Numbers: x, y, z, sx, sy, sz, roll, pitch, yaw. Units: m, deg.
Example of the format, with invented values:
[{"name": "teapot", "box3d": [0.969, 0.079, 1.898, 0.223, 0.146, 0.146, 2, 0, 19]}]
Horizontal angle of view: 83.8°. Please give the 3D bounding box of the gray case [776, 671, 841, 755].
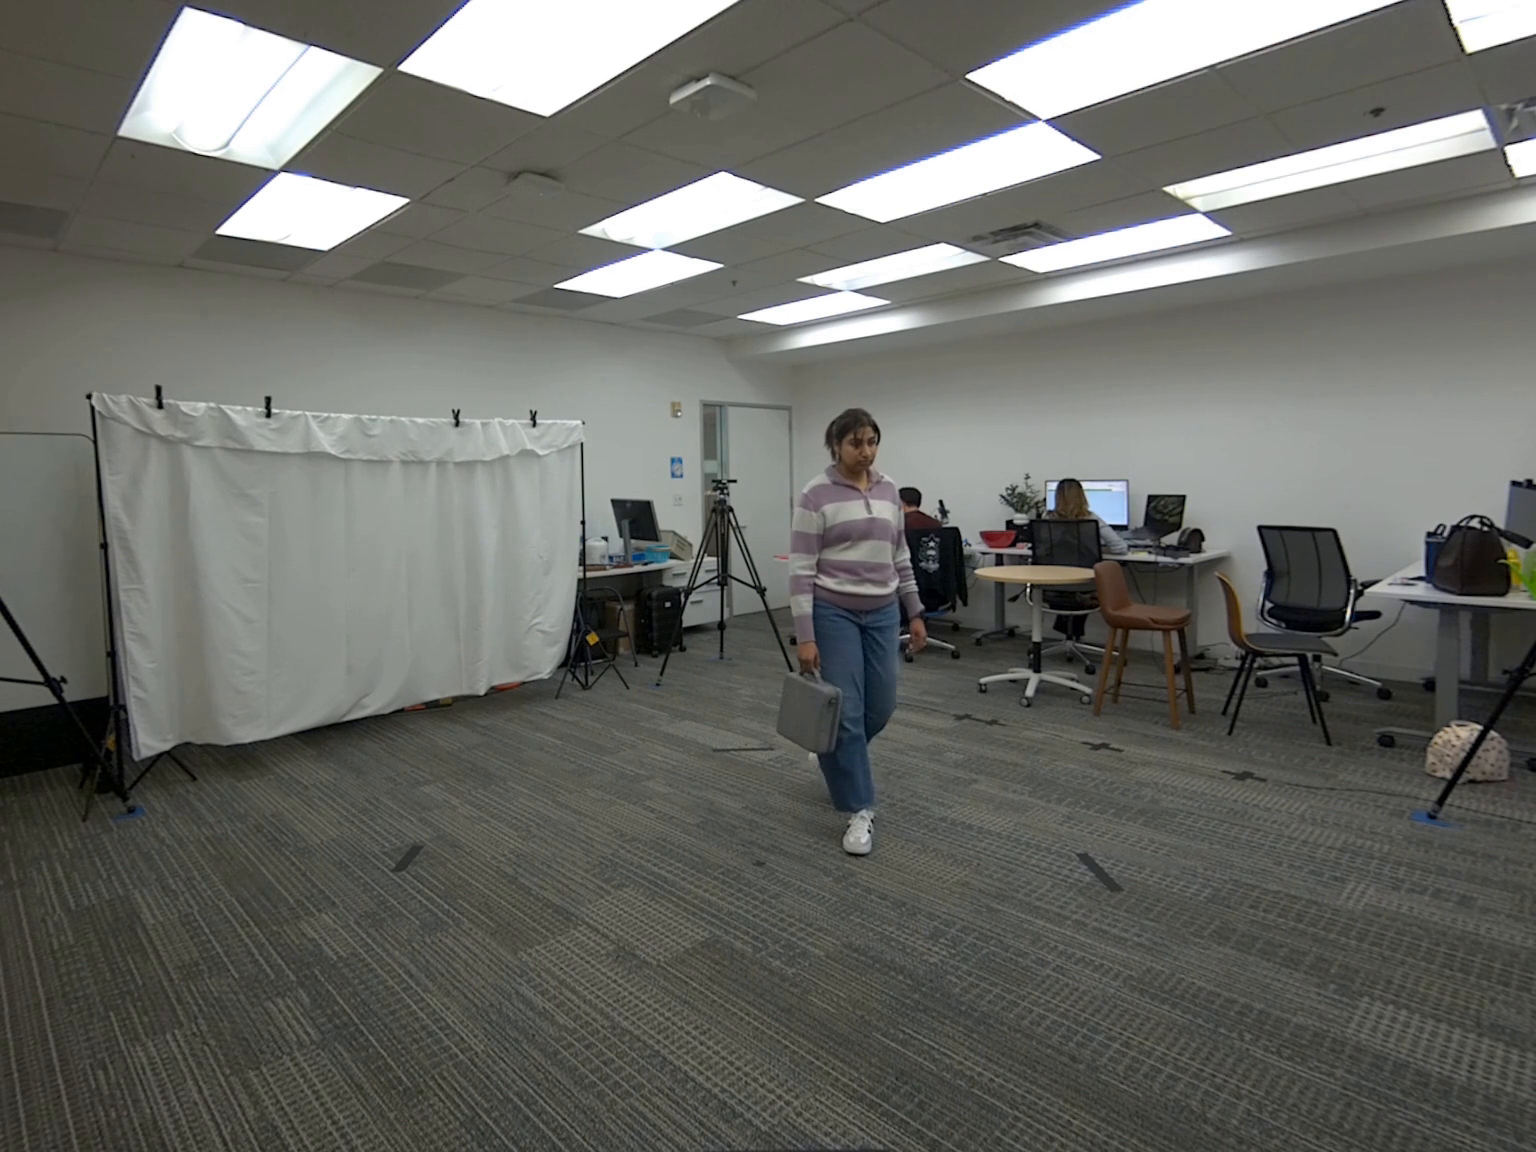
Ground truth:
[{"name": "gray case", "box3d": [0.163, 0.511, 3.223, 0.101, 0.260, 0.265, 4, 6, -34]}]
